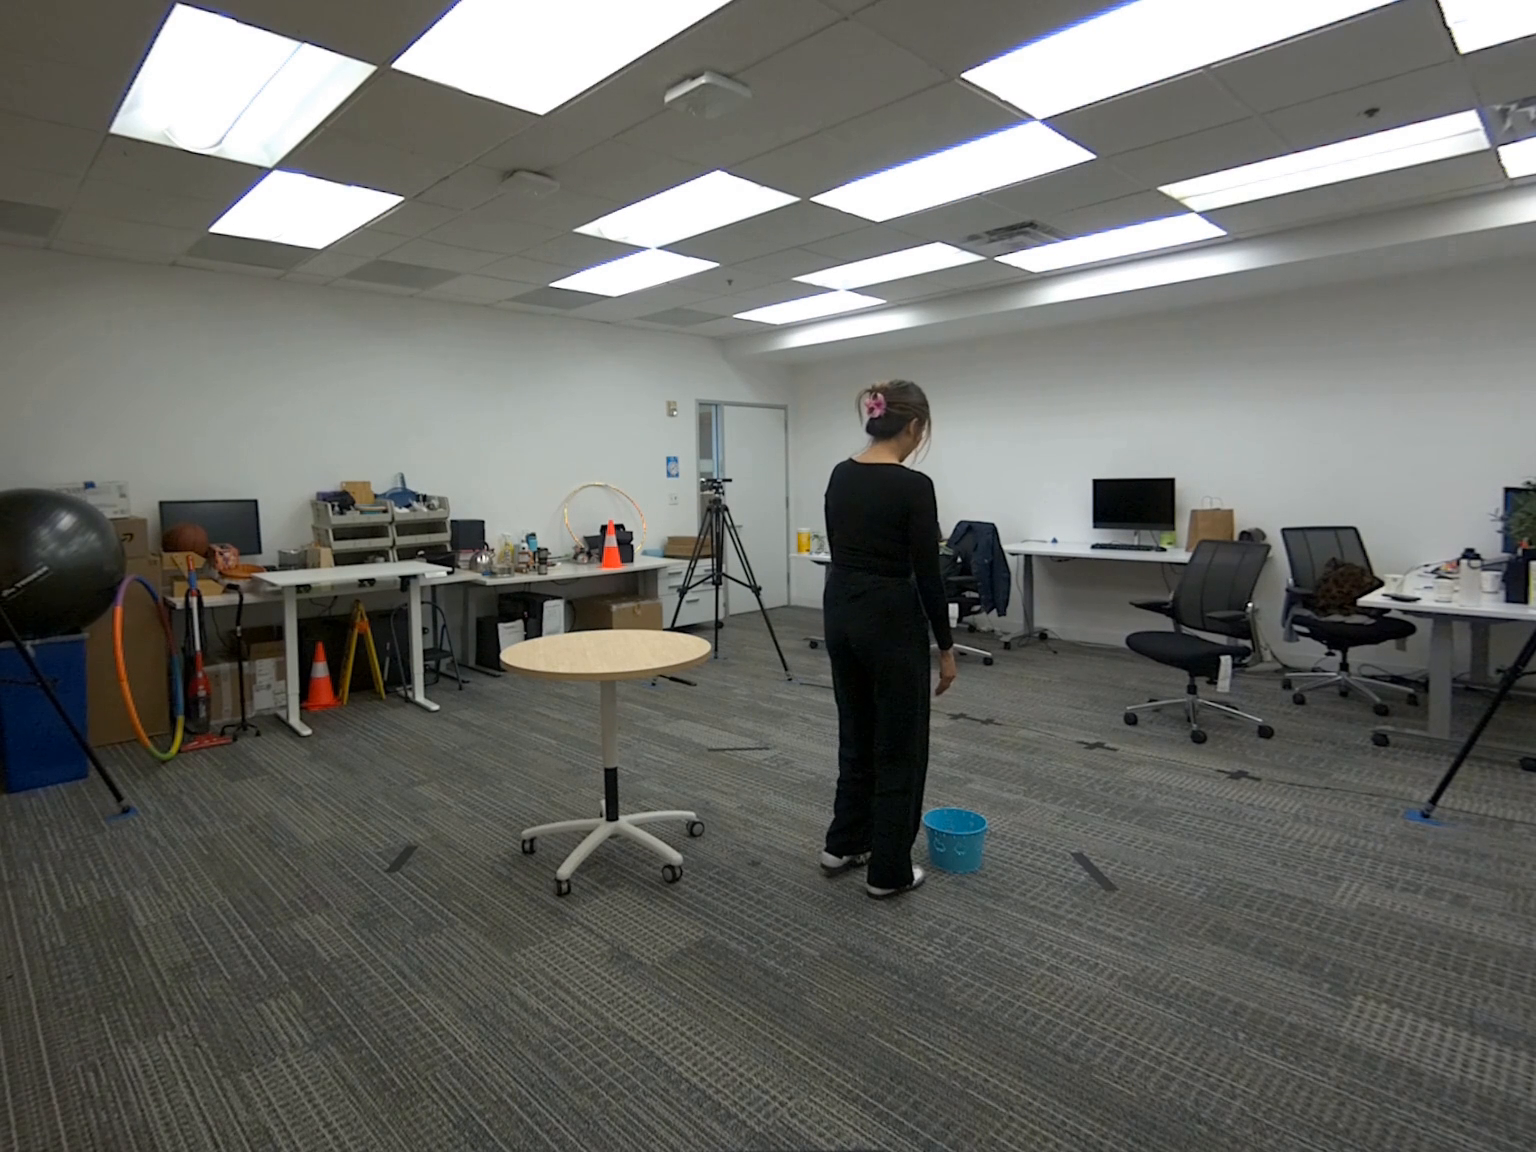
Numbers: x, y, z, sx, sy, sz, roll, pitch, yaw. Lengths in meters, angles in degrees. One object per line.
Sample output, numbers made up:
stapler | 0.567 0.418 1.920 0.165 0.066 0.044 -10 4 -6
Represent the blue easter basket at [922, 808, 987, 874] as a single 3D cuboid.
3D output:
blue easter basket | 0.678 0.953 3.091 0.243 0.155 0.245 -1 6 -2
